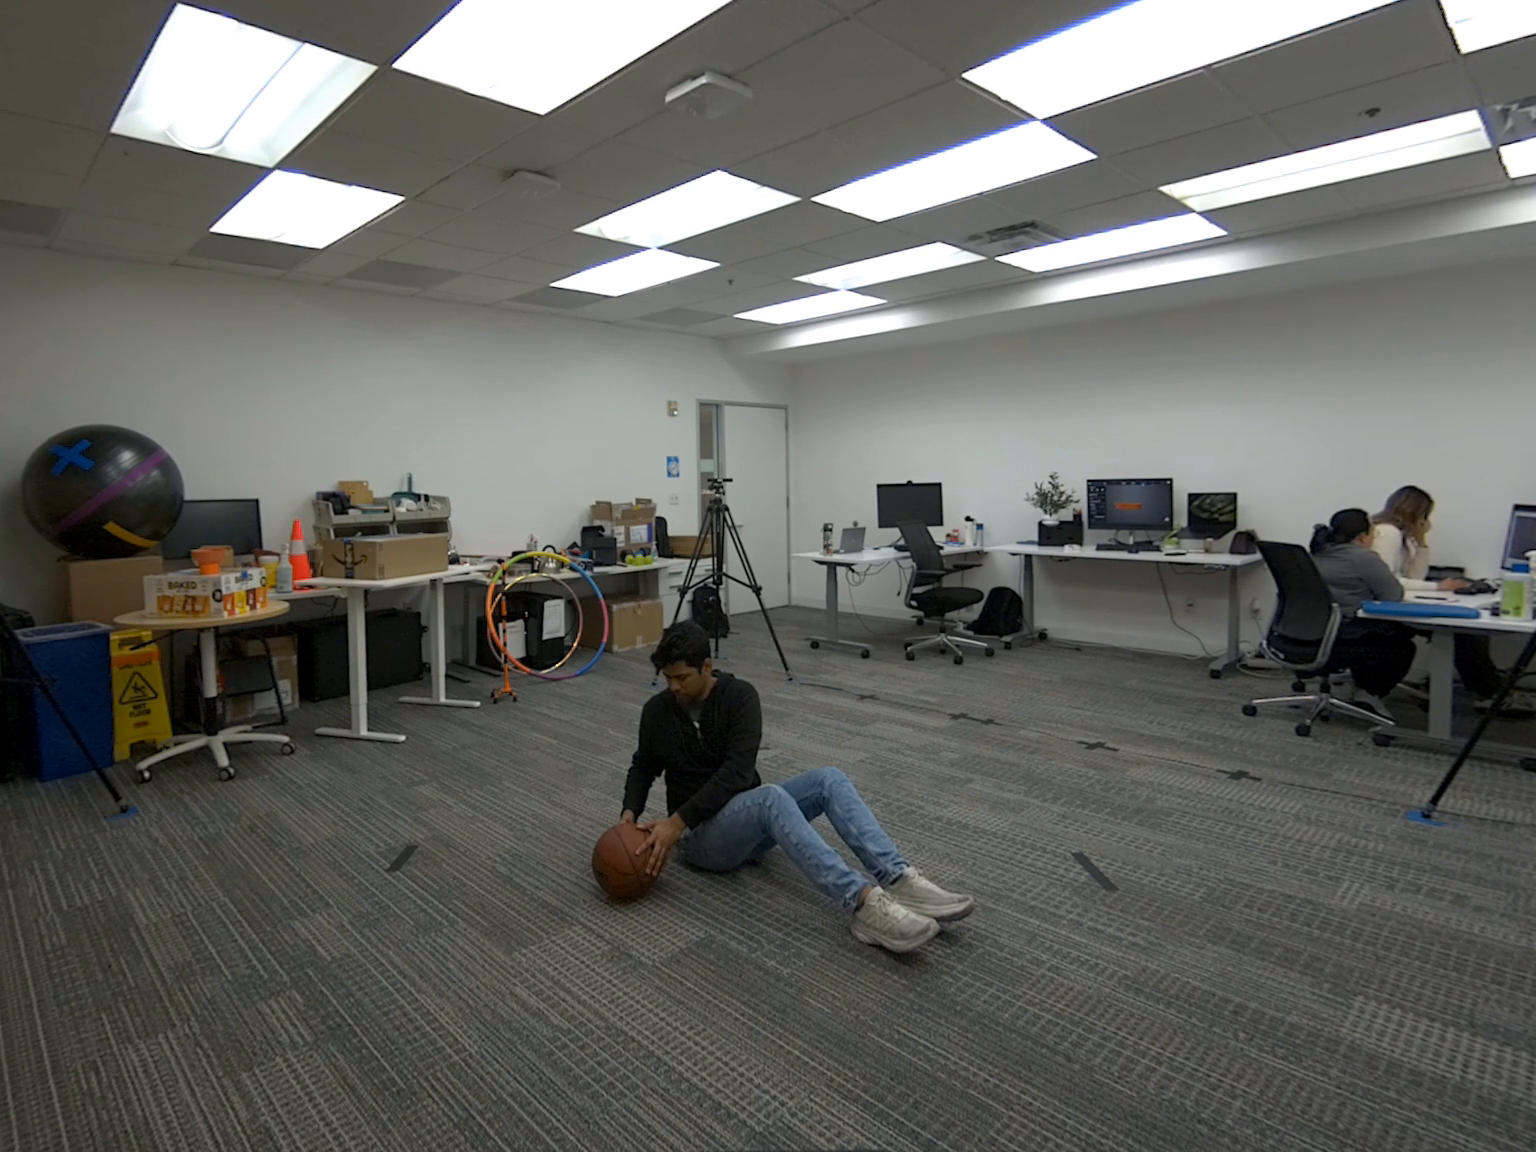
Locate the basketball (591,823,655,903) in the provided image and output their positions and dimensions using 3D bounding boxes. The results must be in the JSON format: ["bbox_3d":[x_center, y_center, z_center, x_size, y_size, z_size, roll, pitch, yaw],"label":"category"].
[{"bbox_3d":[-0.468,0.962,2.881,0.236,0.235,0.237,-1,5,-2],"label":"basketball"}]
